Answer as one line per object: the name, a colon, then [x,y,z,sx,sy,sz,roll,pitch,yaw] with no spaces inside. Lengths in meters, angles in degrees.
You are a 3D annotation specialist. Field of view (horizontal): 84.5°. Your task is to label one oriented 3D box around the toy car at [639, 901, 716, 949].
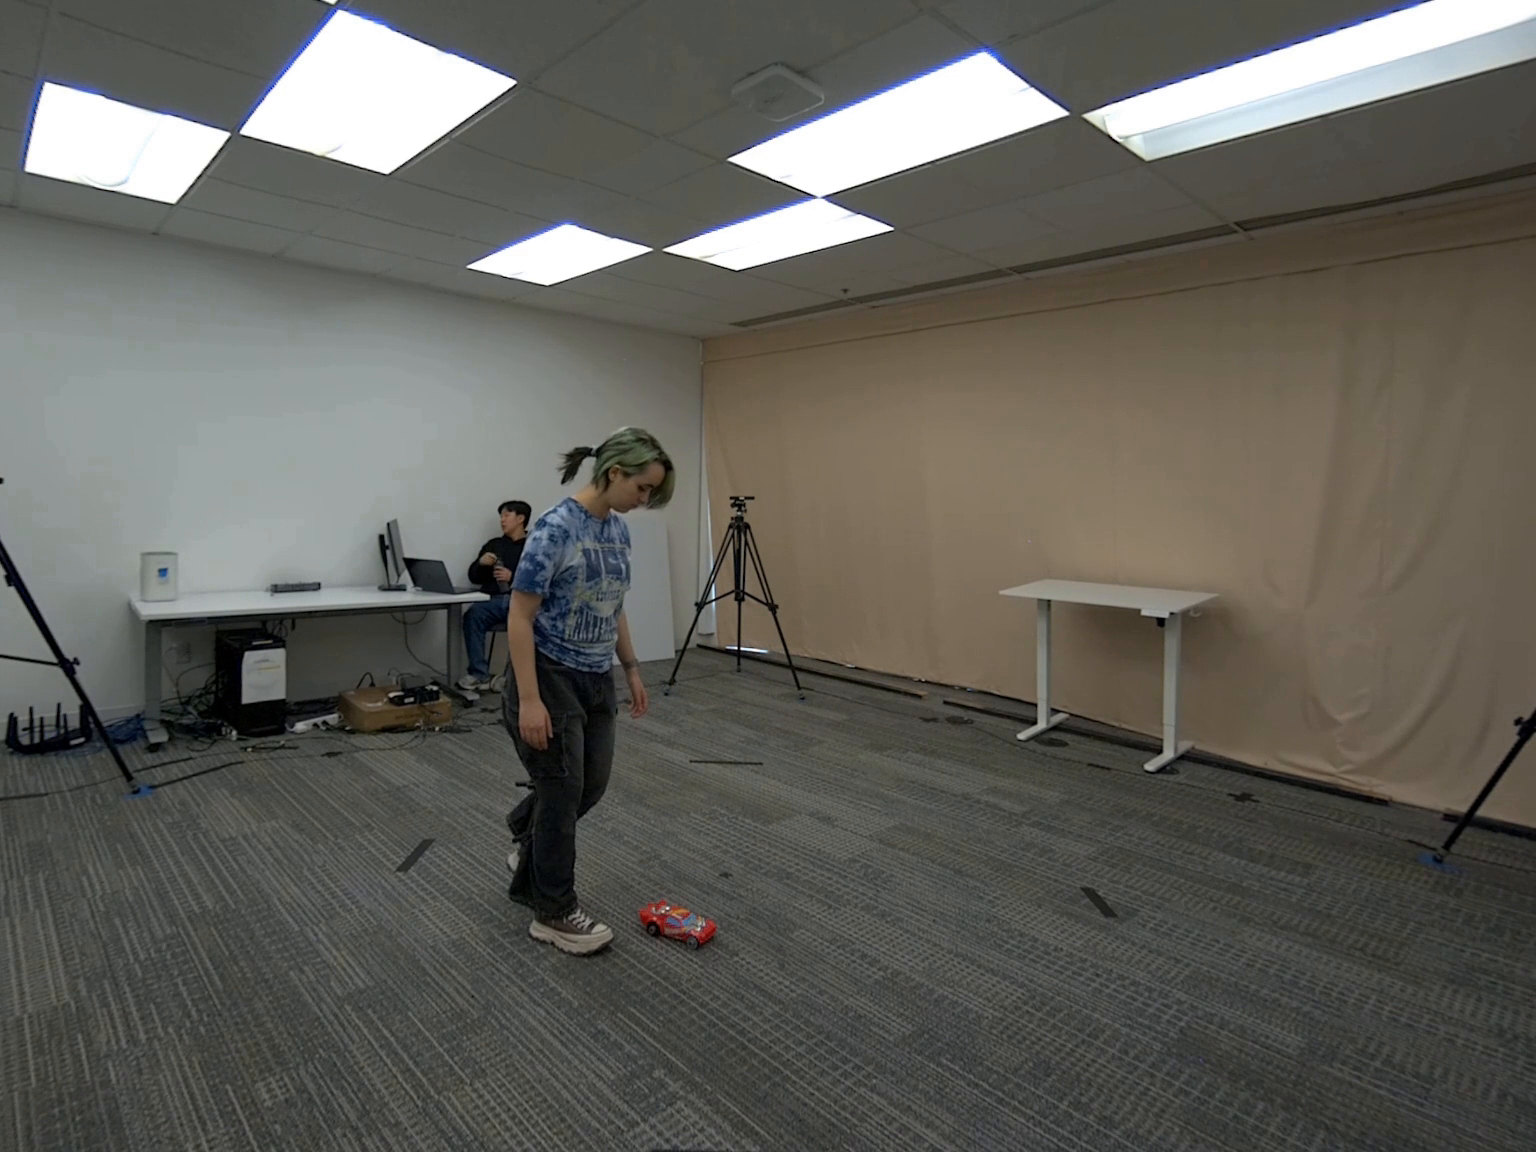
toy car: [-0.303,1.107,2.674,0.260,0.083,0.128,15,10,27]
